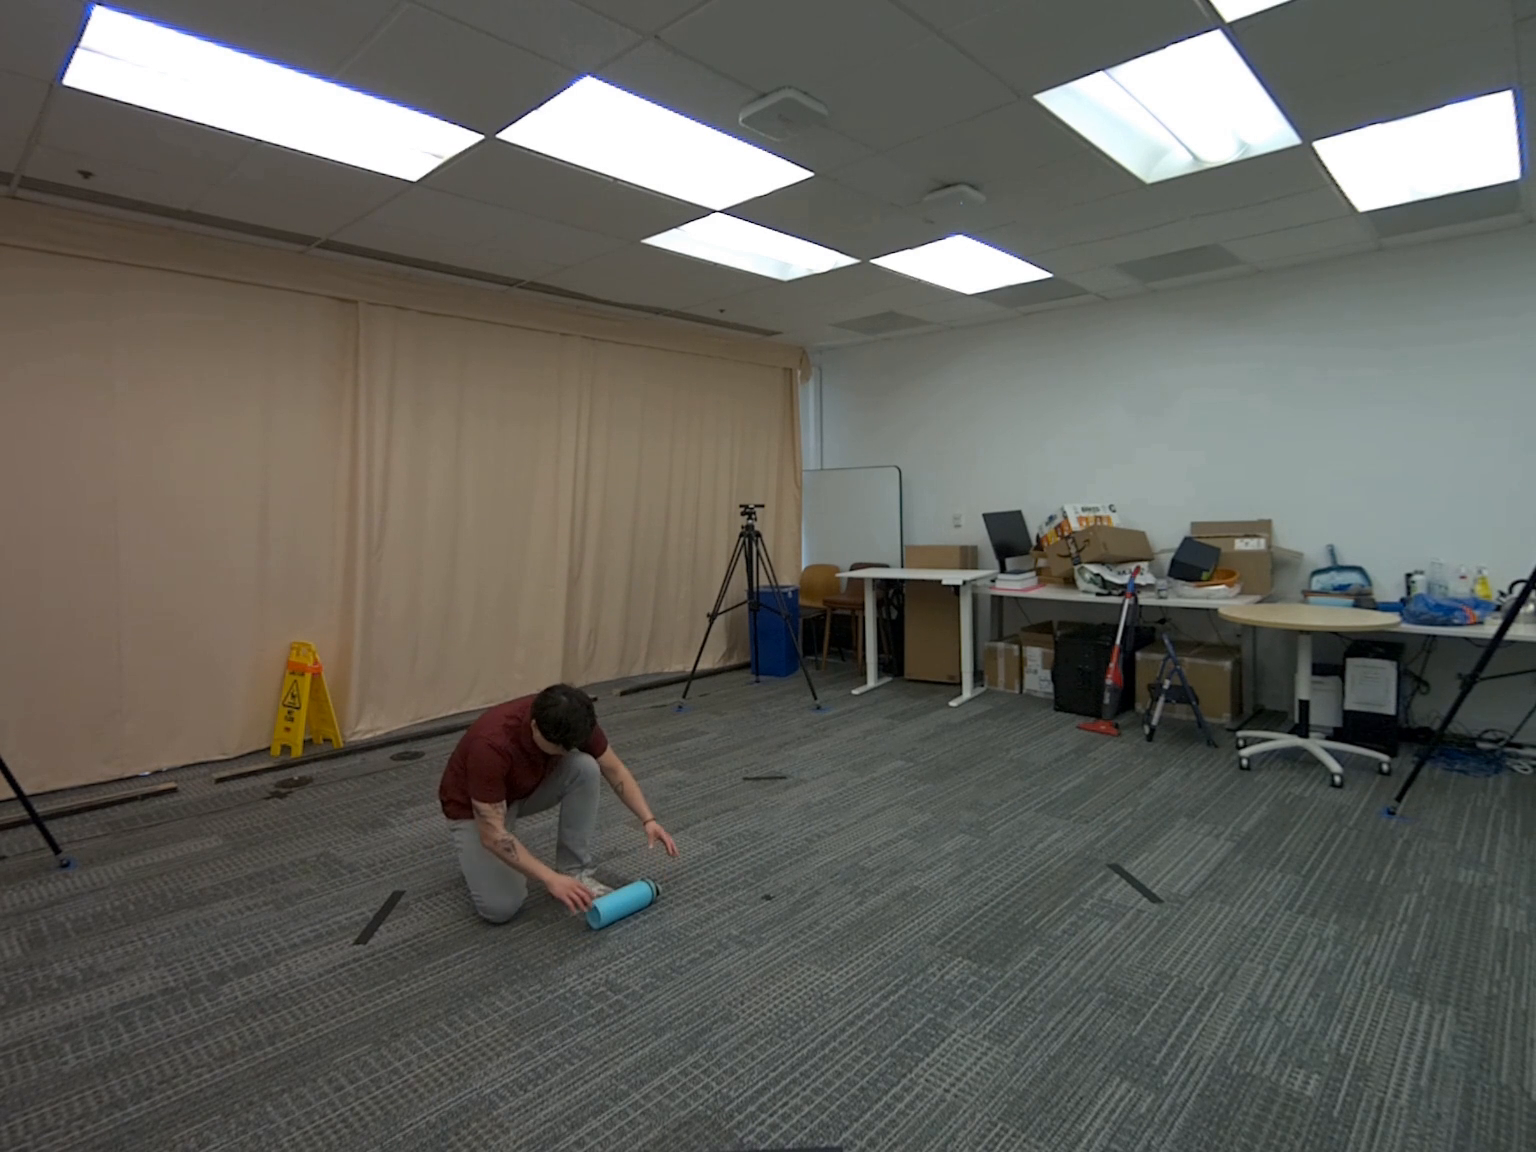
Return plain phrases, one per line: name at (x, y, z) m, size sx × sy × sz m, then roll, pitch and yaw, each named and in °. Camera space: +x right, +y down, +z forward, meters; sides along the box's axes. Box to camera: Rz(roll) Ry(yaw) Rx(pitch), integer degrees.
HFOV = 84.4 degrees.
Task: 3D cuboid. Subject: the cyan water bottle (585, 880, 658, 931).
cyan water bottle at (-0.488, 1.112, 2.881) m, size 0.095 × 0.092 × 0.275 m, roll 3°, pitch 6°, yaw 41°
